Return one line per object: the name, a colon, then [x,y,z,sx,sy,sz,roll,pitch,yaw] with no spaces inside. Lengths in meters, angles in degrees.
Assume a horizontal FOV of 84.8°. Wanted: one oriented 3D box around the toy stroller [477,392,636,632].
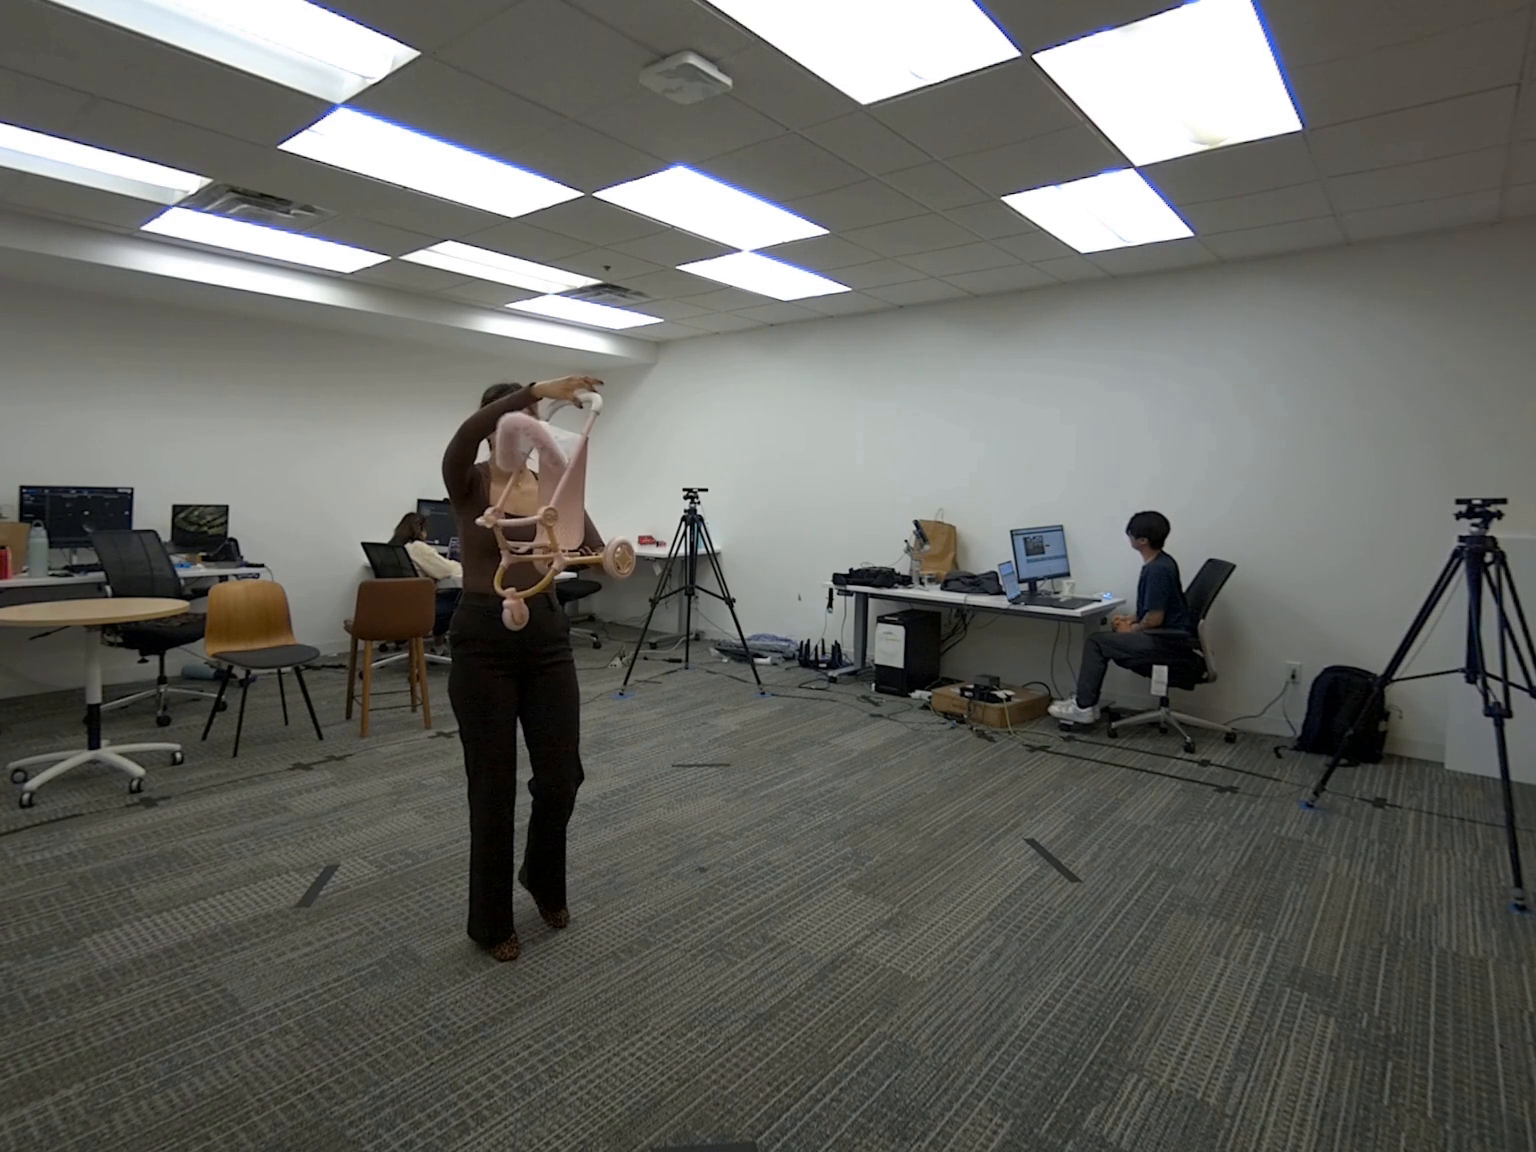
toy stroller: [-0.555,-0.165,2.075,0.291,0.528,0.334,4,15,39]
